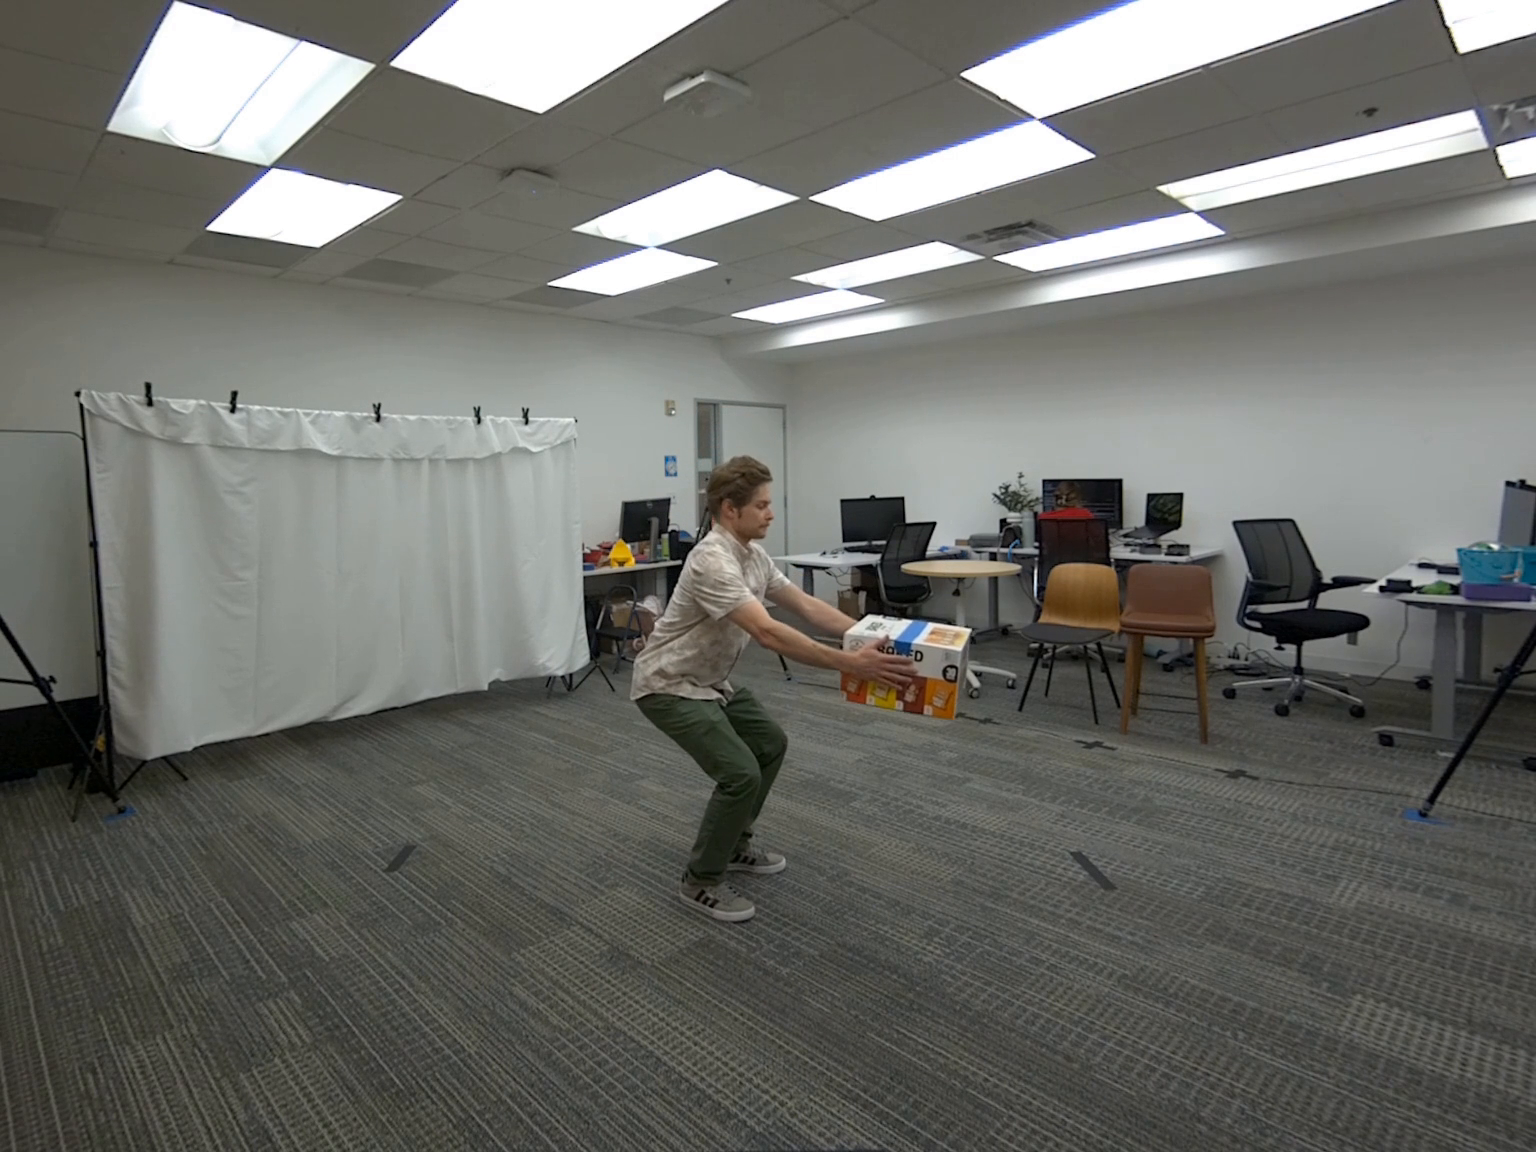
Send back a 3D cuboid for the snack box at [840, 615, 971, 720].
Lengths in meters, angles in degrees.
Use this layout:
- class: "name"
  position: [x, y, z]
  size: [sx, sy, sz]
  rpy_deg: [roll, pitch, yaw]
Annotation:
- class: "snack box"
  position: [0.435, 0.269, 2.668]
  size: [0.347, 0.205, 0.399]
  rpy_deg: [7, 7, 18]
